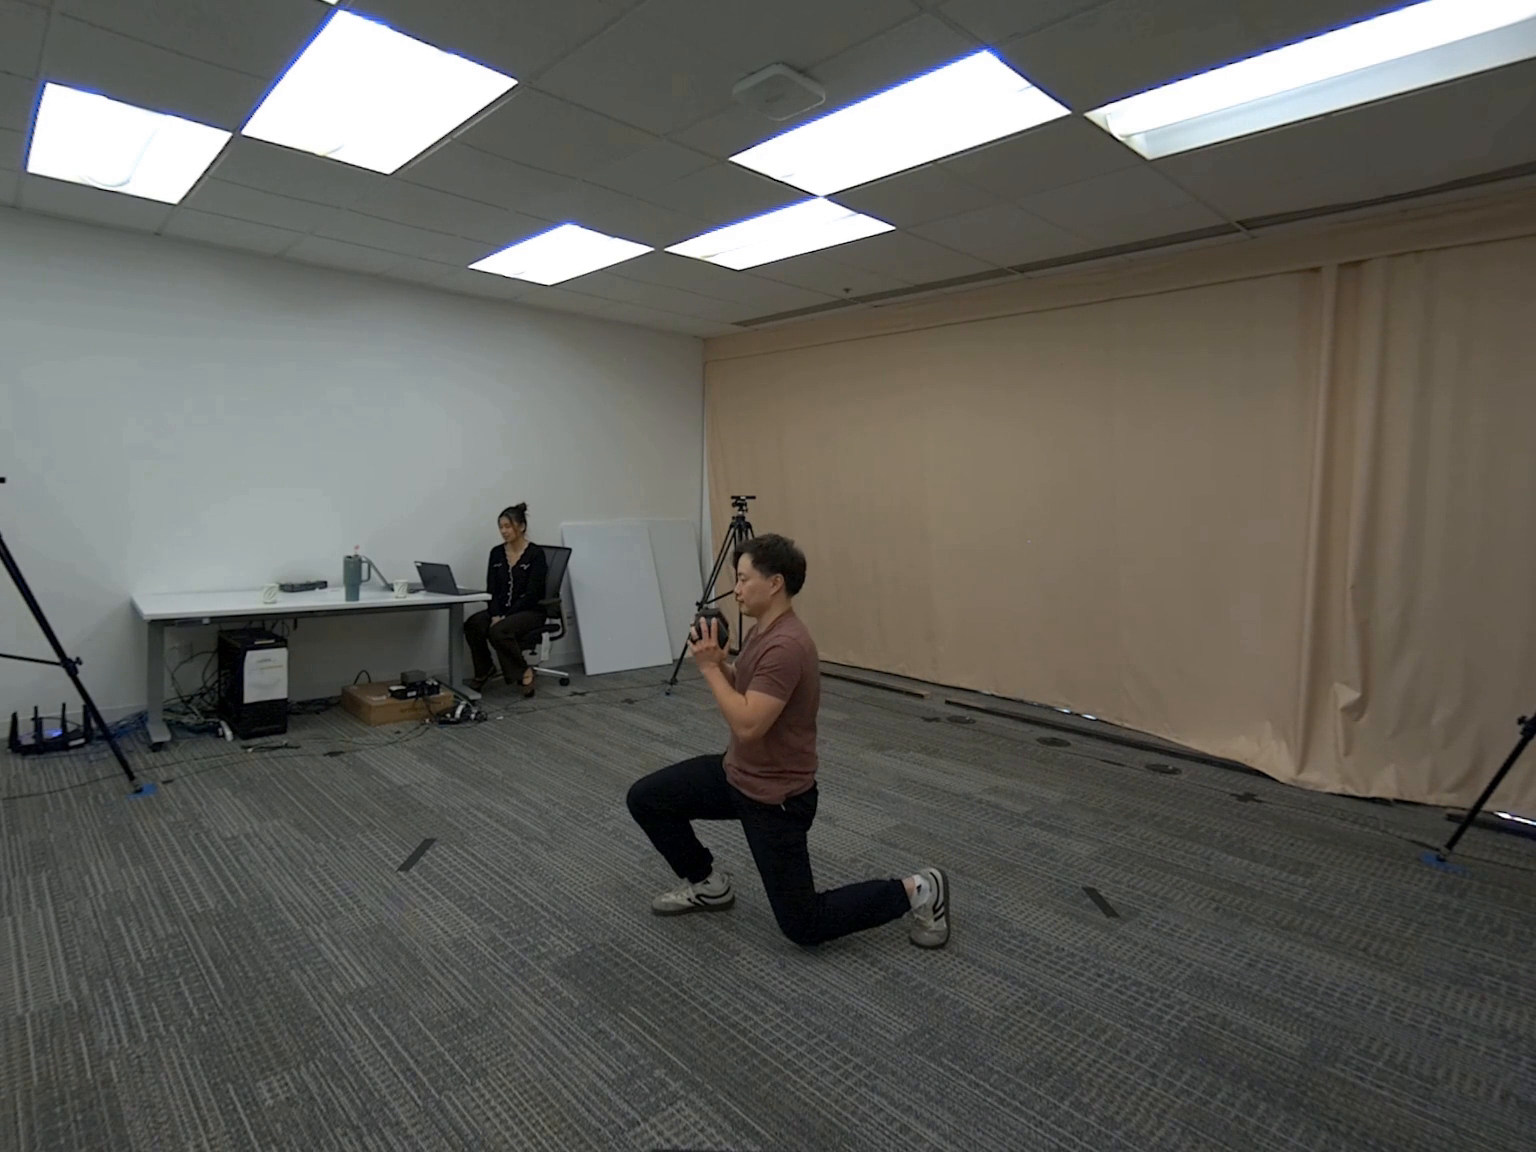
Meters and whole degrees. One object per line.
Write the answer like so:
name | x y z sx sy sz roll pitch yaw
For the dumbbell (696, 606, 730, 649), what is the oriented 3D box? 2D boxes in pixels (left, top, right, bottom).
dumbbell | -0.153 0.180 2.719 0.123 0.108 0.295 3 9 0
